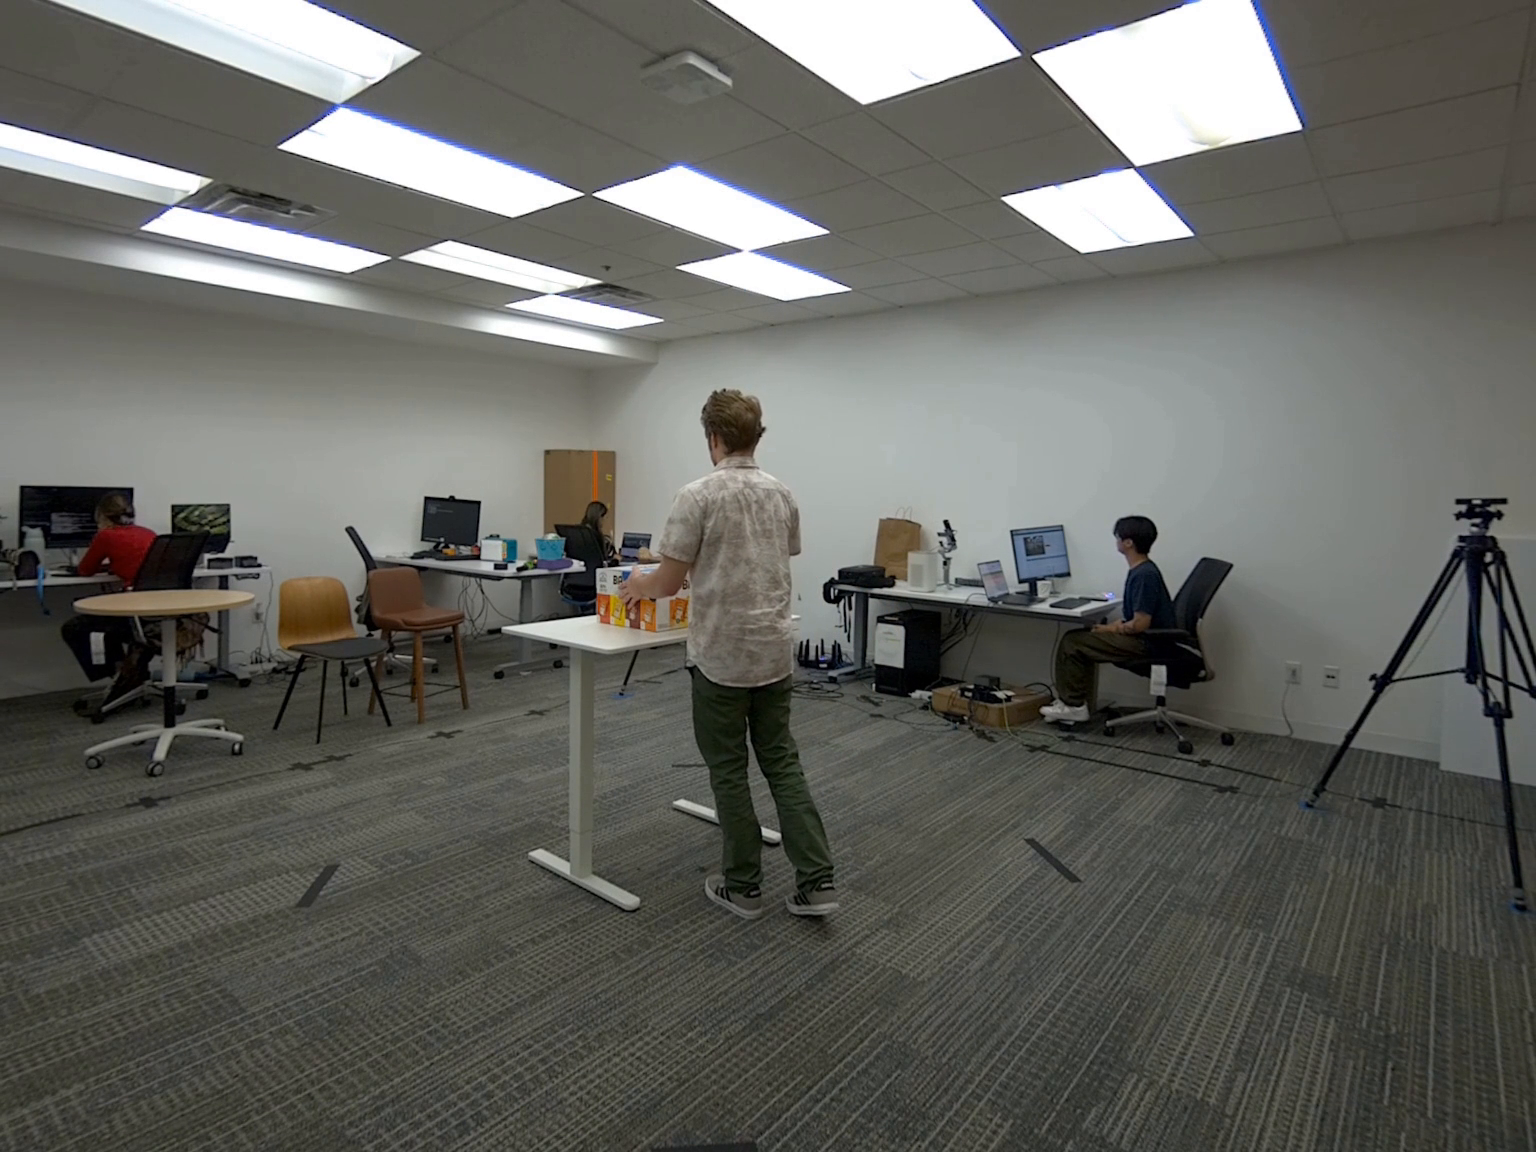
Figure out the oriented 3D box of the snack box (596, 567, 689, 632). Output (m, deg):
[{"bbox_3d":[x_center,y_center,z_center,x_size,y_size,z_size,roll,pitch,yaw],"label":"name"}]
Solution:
[{"bbox_3d":[-0.400,0.068,3.233,0.352,0.205,0.393,5,7,41],"label":"snack box"}]
